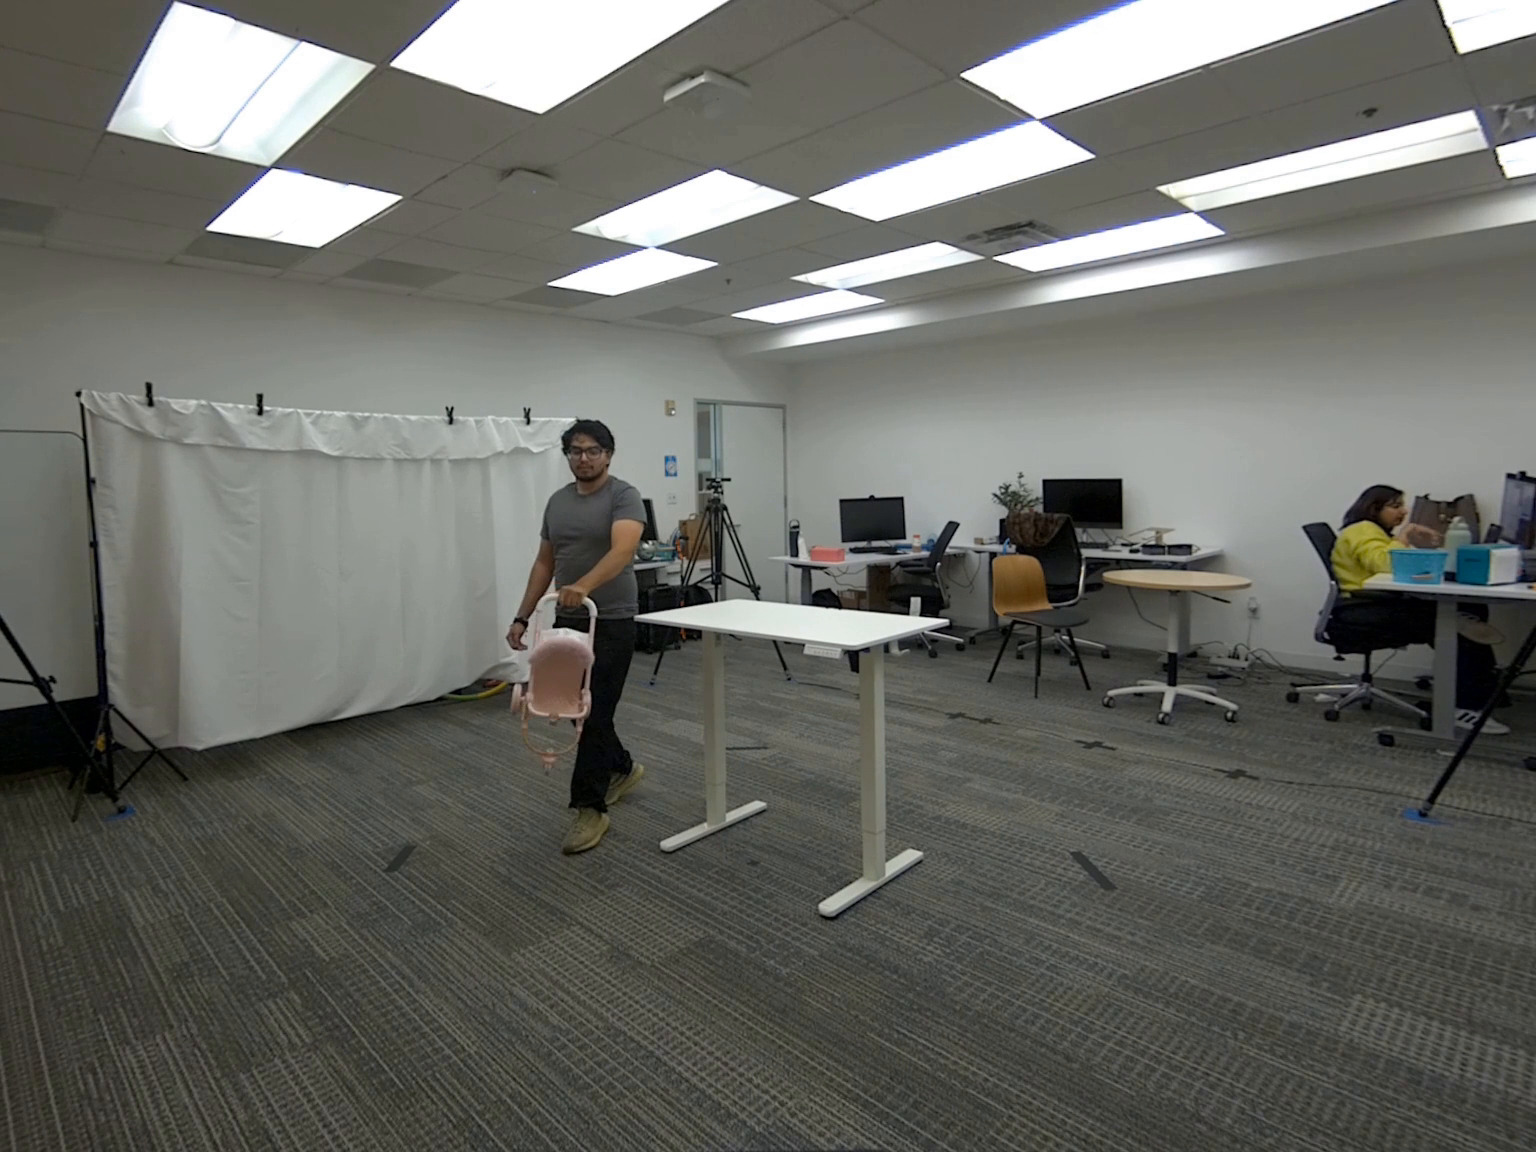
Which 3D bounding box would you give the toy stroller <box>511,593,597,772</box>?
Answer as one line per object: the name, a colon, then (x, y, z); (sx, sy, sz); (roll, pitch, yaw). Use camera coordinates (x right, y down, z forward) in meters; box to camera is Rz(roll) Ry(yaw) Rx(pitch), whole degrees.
toy stroller: (-0.725, 0.379, 2.929); (0.277, 0.527, 0.351); (10, 27, -15)
